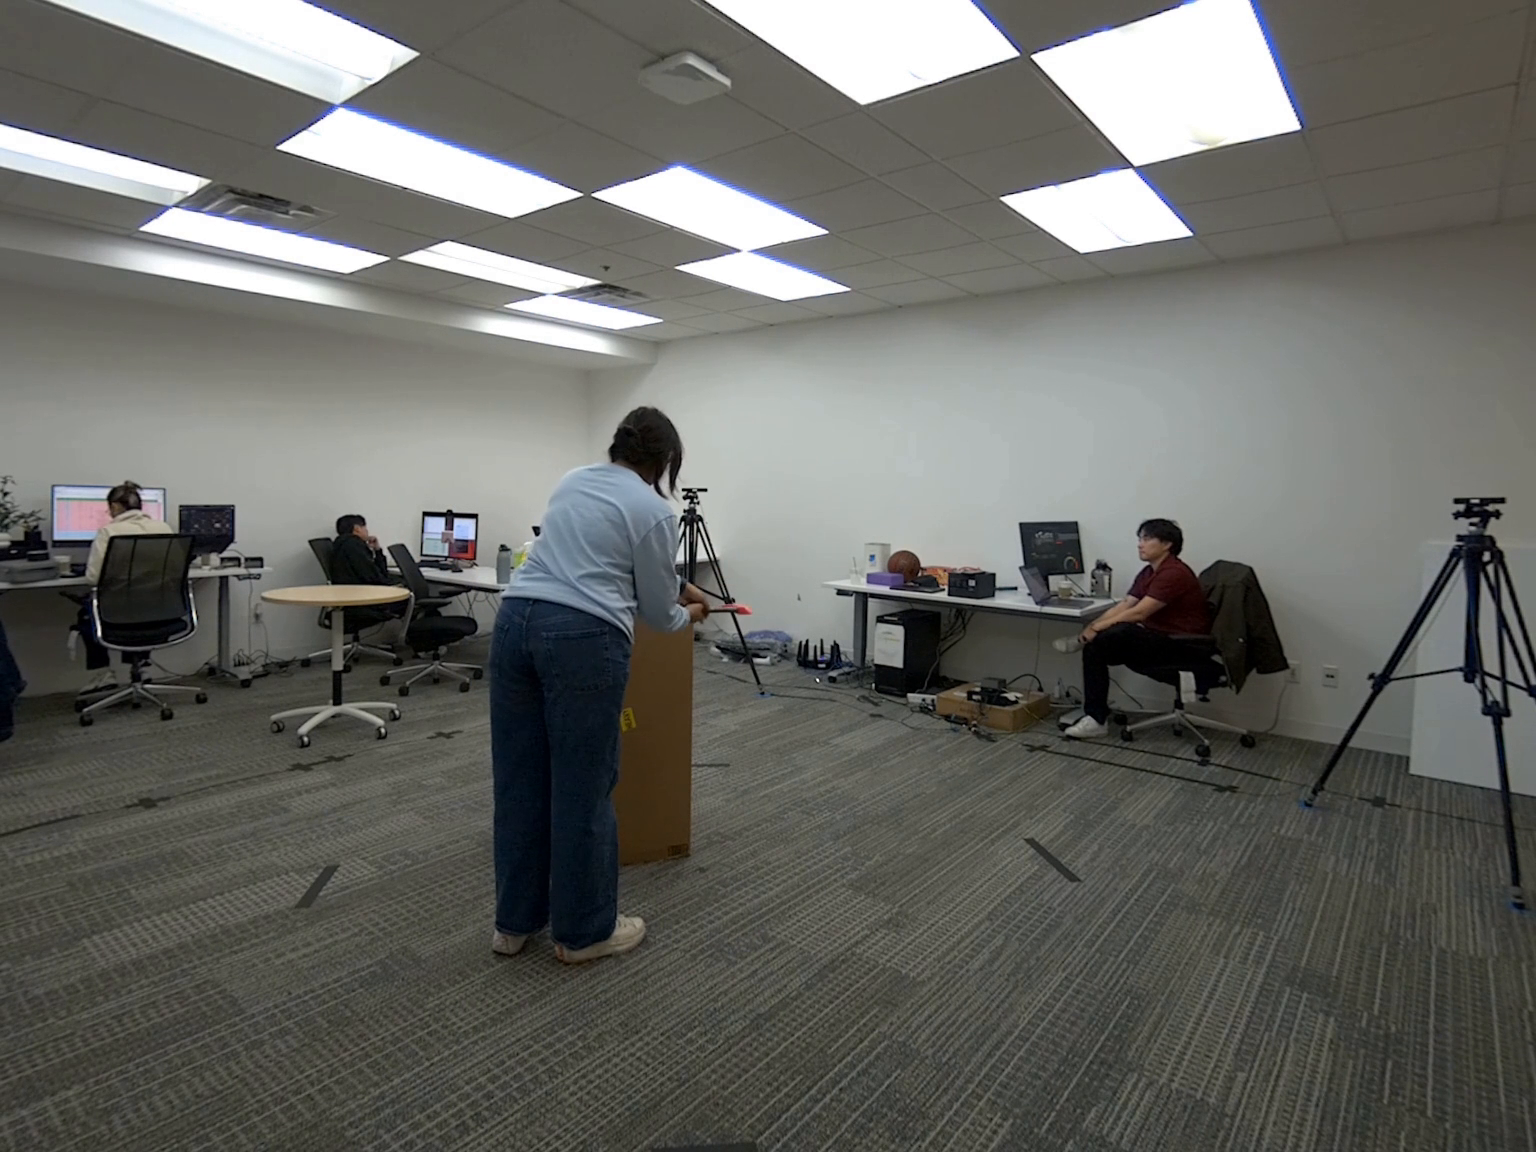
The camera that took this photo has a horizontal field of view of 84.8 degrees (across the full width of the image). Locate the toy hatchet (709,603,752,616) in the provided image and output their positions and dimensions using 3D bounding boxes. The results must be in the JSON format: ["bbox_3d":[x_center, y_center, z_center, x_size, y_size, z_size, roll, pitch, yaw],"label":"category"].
[{"bbox_3d":[-0.090,0.129,2.905,0.265,0.029,0.134,2,9,-16],"label":"toy hatchet"}]
